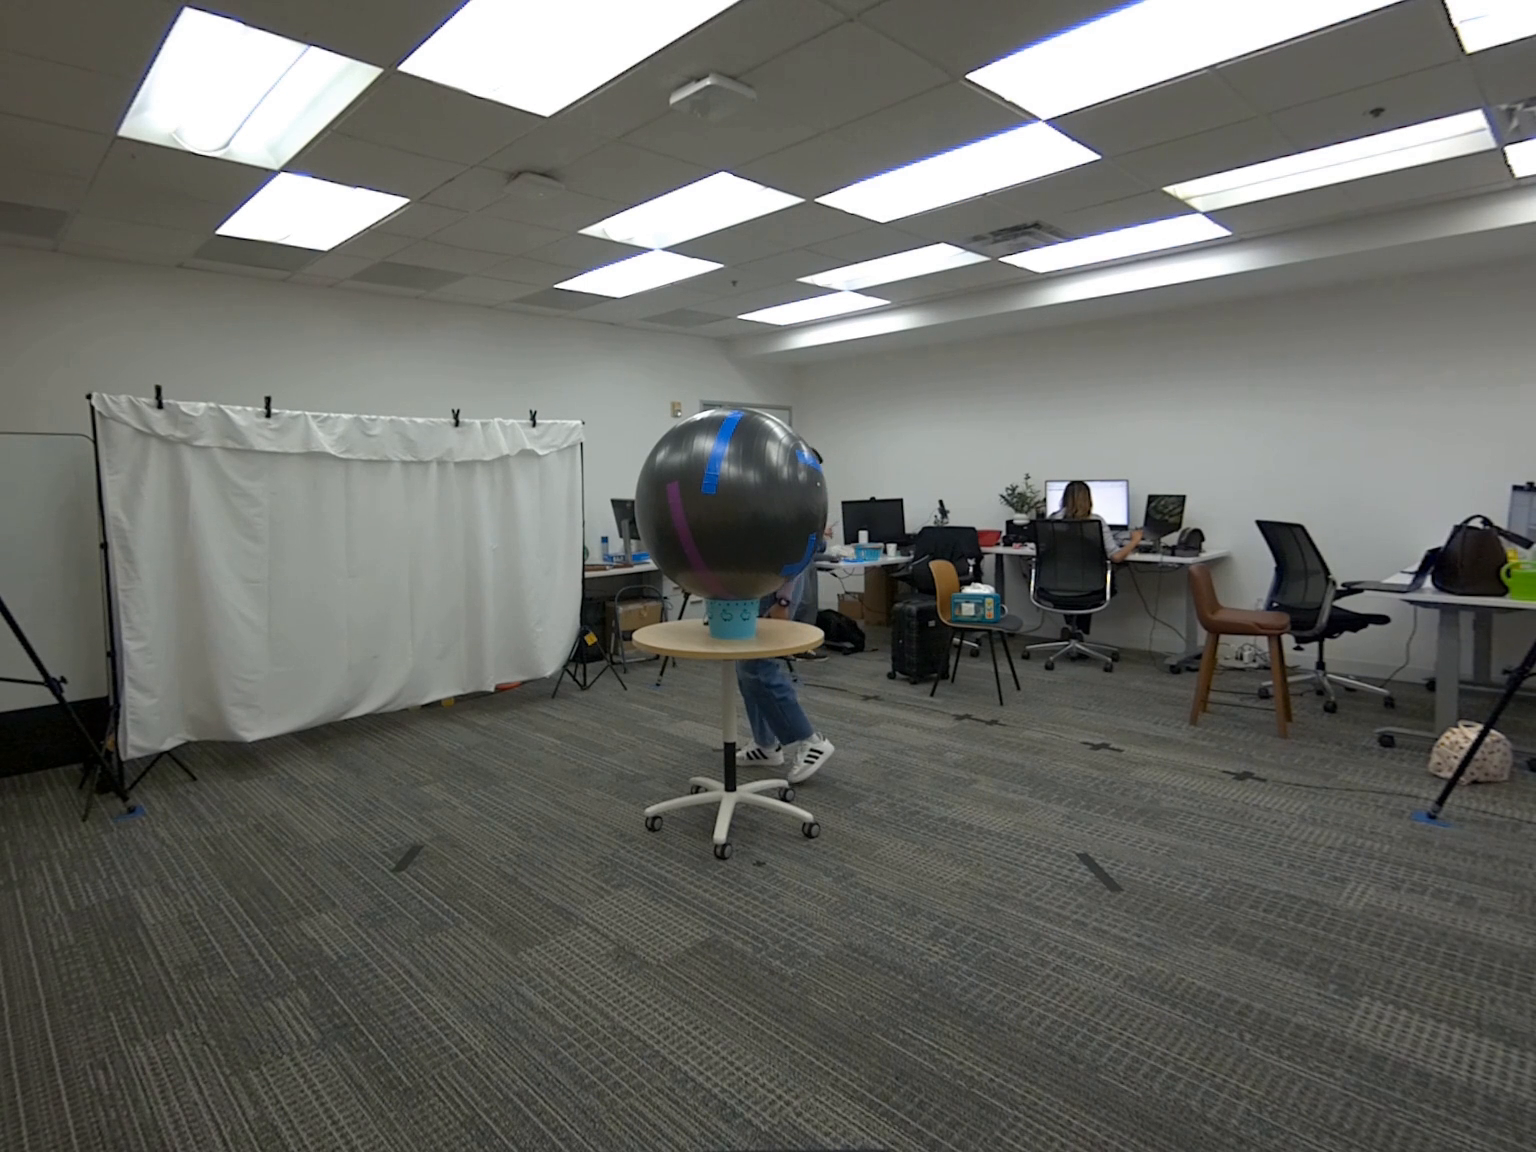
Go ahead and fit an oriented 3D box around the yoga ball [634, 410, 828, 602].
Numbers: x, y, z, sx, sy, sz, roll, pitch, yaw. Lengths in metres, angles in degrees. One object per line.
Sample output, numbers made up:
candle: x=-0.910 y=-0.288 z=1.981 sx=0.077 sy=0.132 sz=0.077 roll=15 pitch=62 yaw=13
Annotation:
yoga ball: x=-0.149 y=-0.273 z=3.360 sx=0.757 sy=0.755 sz=0.762 roll=-1 pitch=5 yaw=-2
